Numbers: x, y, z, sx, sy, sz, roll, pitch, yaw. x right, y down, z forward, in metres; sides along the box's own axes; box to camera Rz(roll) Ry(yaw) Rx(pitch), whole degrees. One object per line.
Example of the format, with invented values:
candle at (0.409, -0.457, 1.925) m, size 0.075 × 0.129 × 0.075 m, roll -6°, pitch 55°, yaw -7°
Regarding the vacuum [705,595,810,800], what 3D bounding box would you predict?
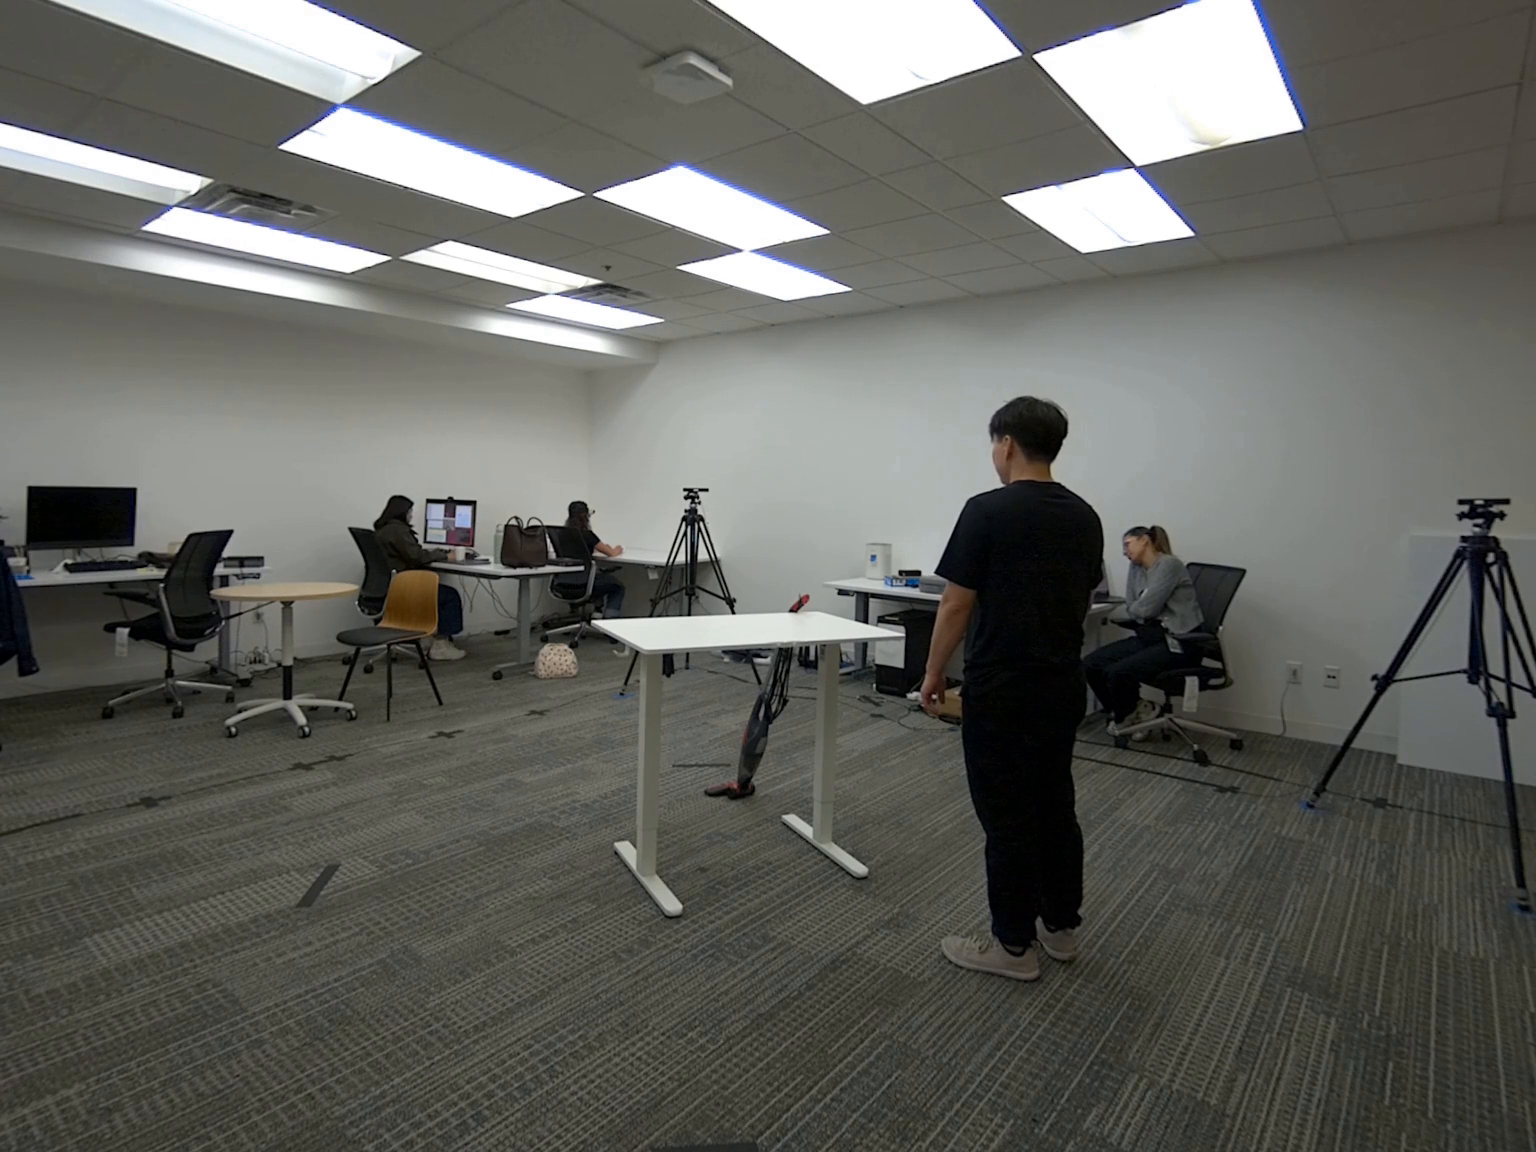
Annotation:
vacuum at (-0.011, 0.534, 3.714) m, size 0.245 × 1.037 × 0.150 m, roll -3°, pitch 30°, yaw -44°
